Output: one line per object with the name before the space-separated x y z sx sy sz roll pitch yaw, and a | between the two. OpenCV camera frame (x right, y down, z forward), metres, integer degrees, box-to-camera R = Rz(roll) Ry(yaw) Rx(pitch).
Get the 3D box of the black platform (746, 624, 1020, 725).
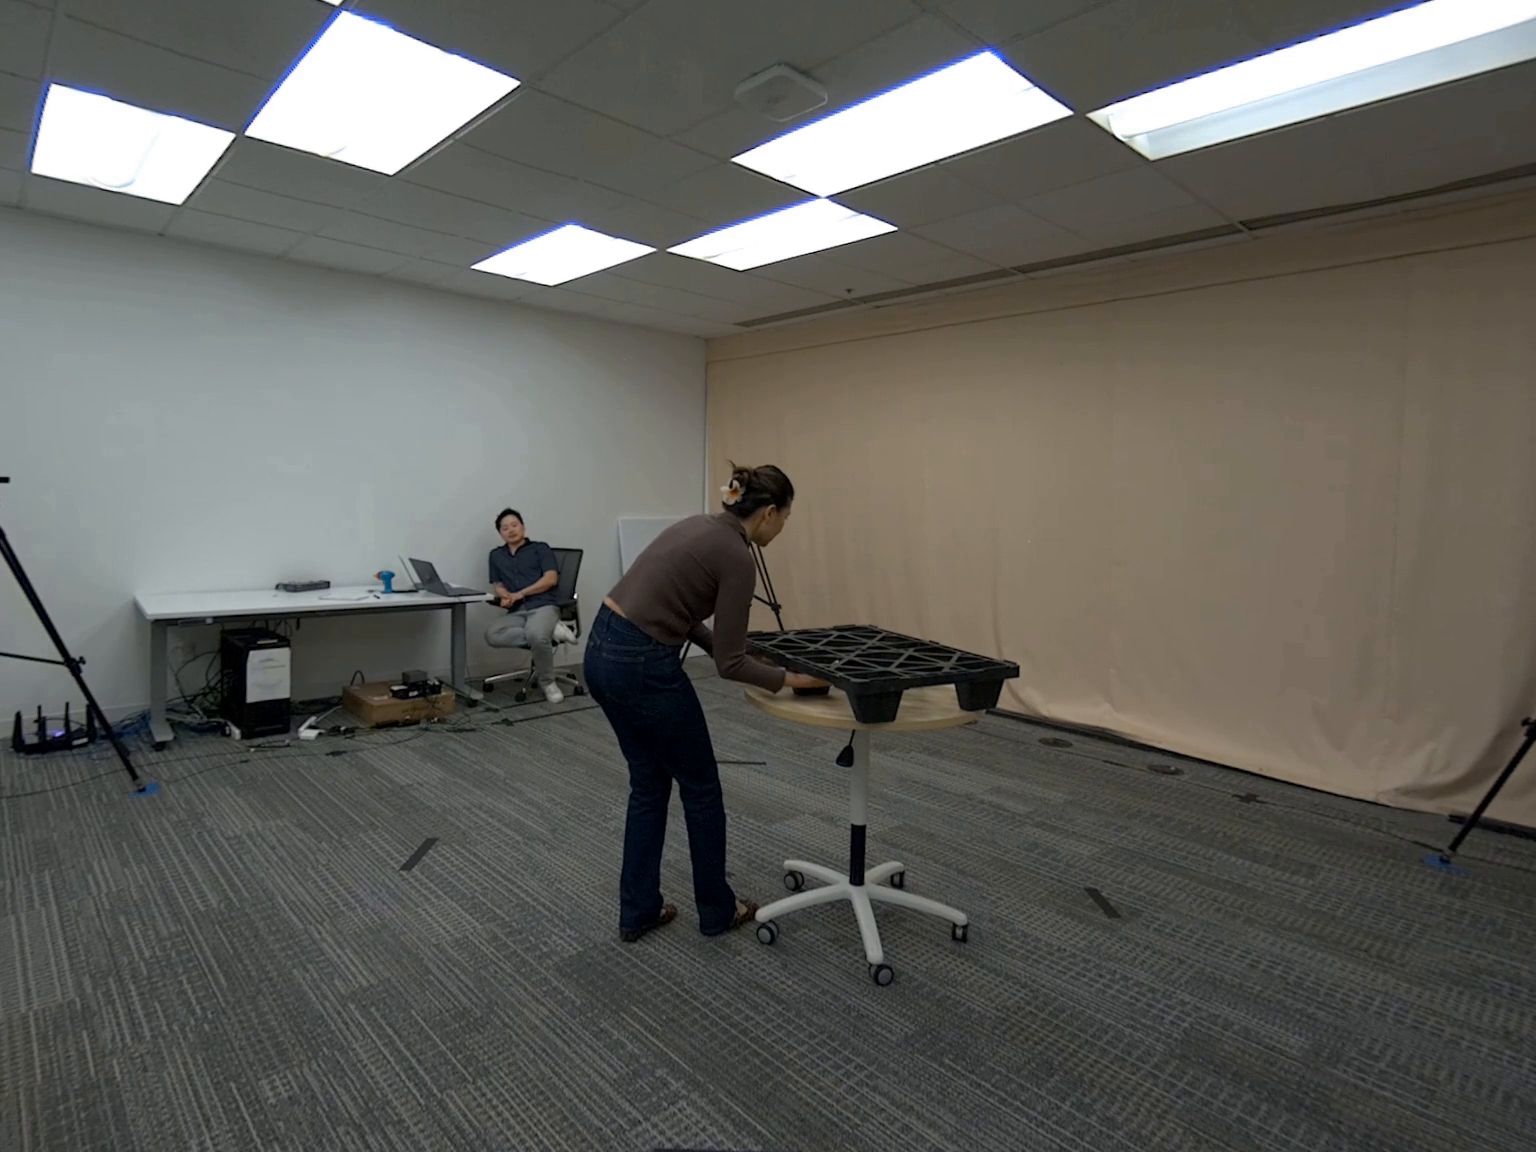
black platform | 0.302 0.301 2.714 0.594 0.143 0.824 -2 7 -28
